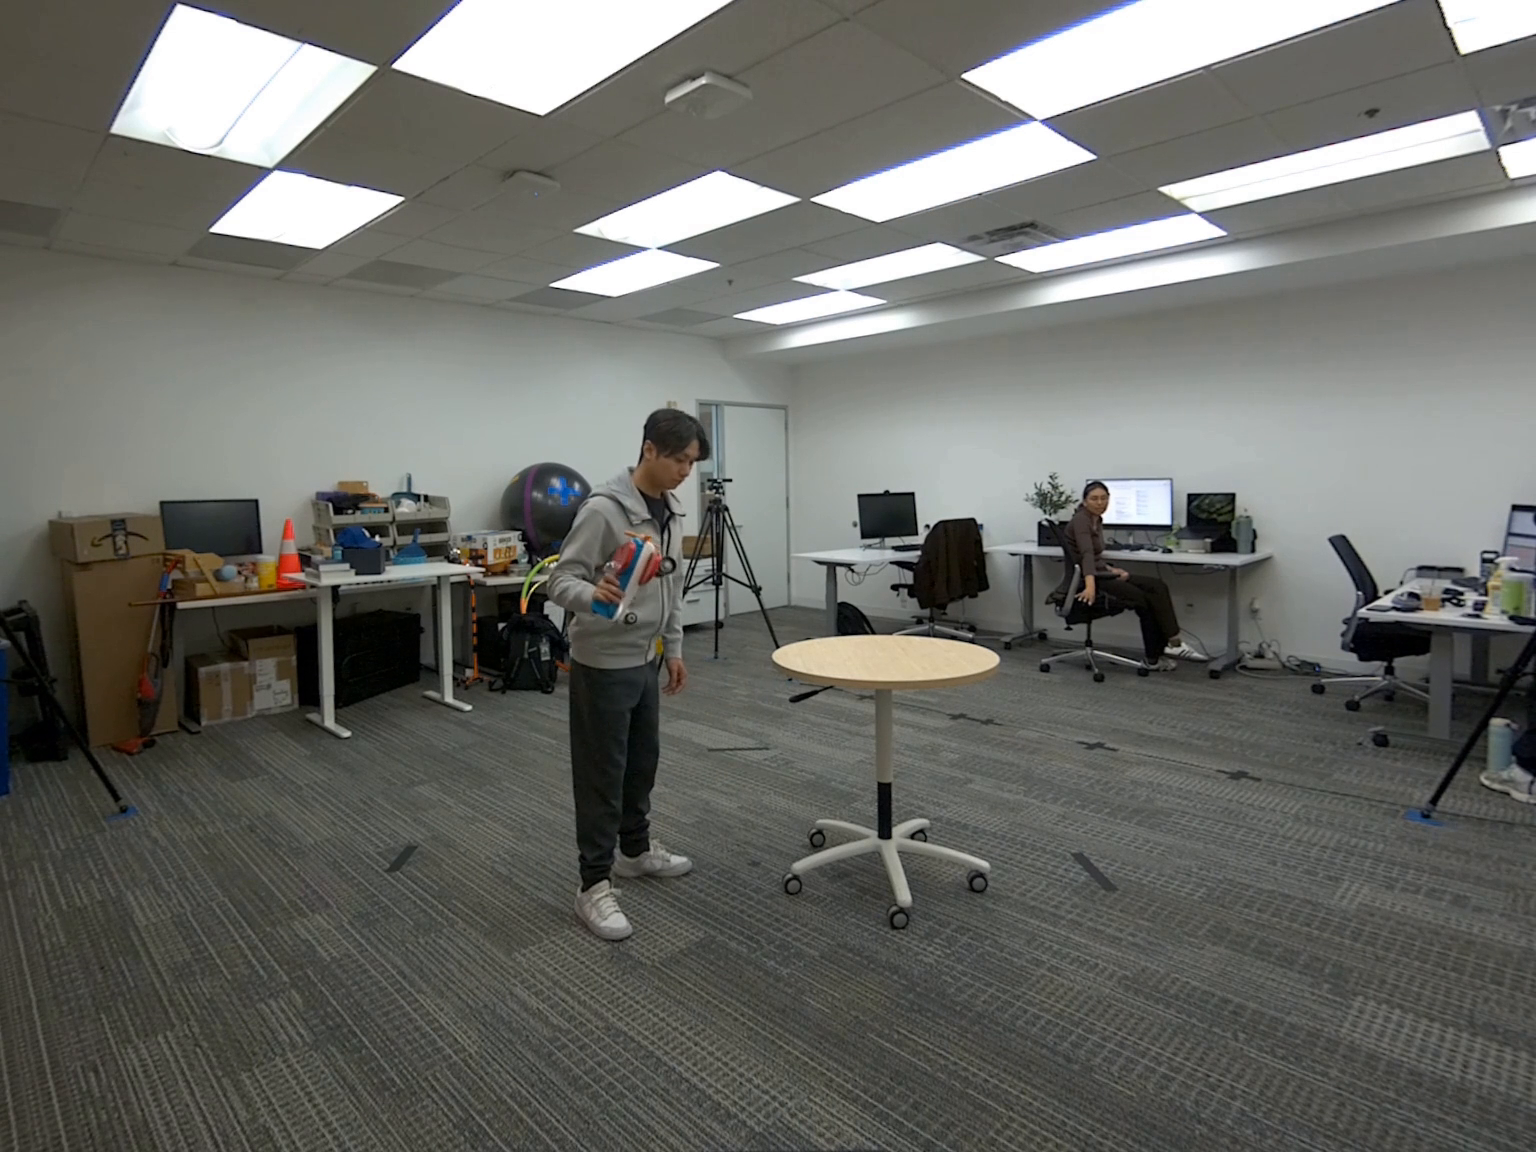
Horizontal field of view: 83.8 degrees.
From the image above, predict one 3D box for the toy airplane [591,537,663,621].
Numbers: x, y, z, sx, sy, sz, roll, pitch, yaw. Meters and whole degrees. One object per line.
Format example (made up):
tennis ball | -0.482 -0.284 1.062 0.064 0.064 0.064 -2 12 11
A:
toy airplane | -0.371 0.016 2.390 0.252 0.154 0.262 -41 16 45
